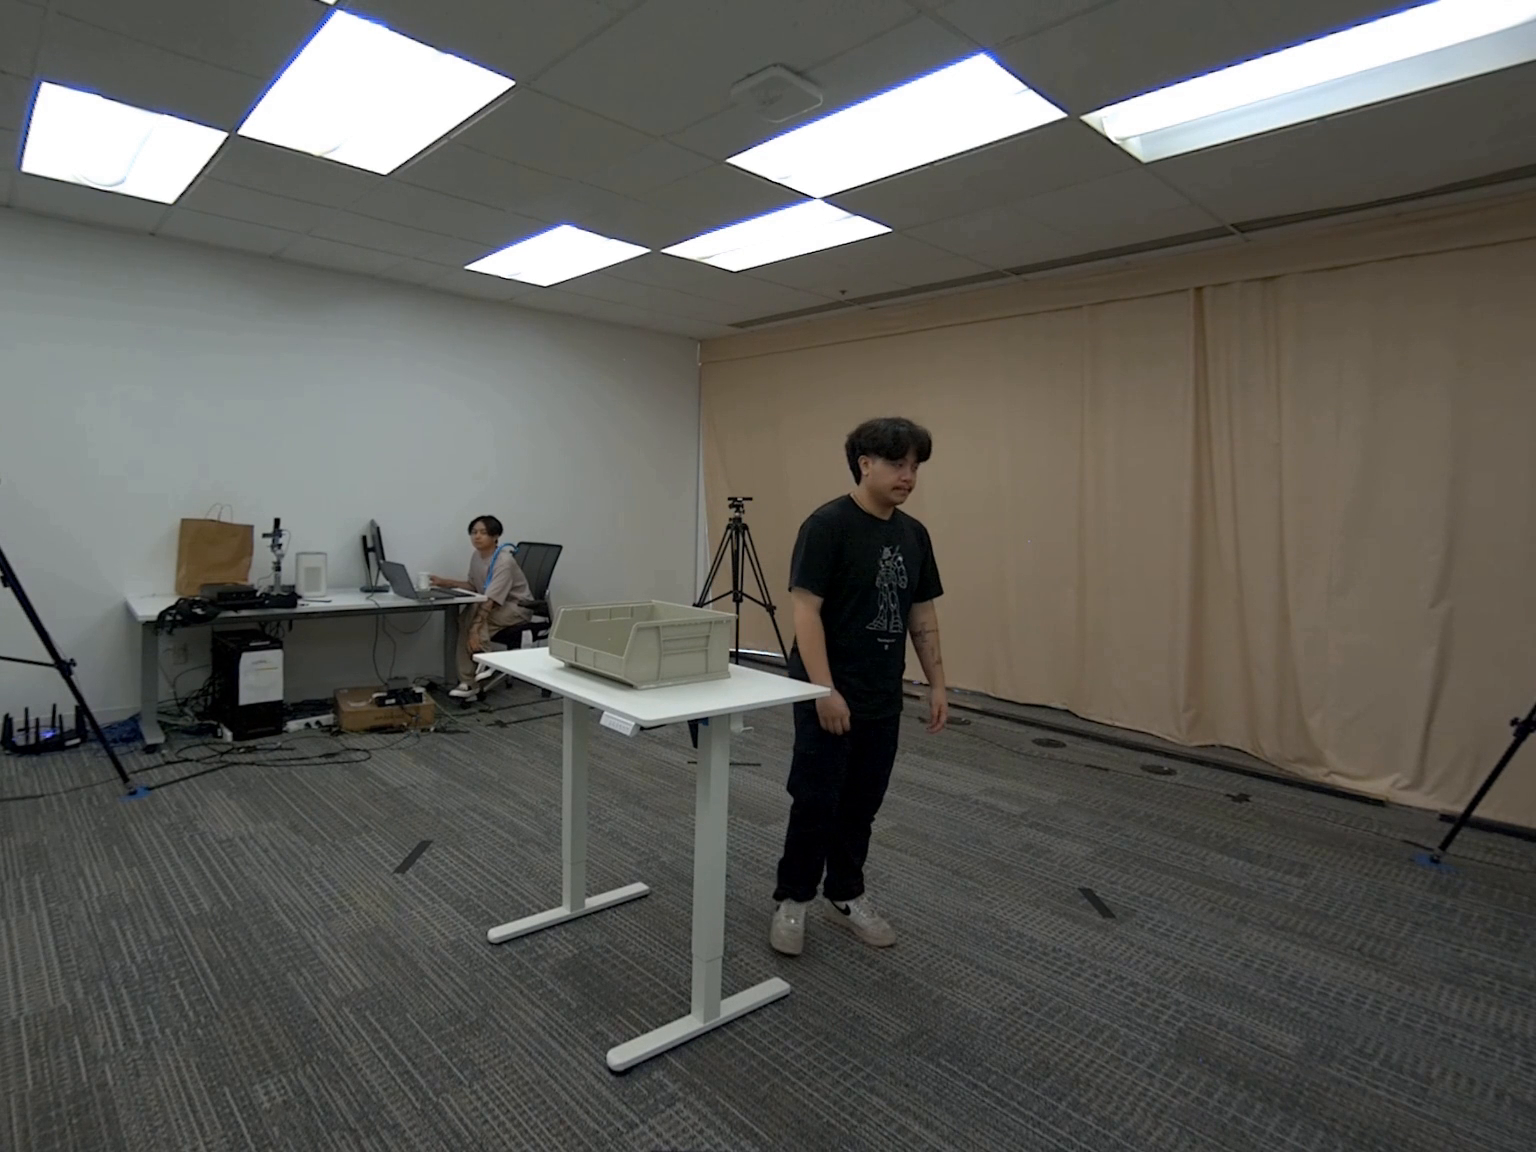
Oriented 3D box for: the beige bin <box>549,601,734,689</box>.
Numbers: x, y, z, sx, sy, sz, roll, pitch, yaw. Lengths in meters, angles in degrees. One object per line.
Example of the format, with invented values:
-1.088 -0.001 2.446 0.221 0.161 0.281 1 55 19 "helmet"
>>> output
-0.373 0.193 2.433 0.368 0.188 0.433 -1 4 -41 "beige bin"
